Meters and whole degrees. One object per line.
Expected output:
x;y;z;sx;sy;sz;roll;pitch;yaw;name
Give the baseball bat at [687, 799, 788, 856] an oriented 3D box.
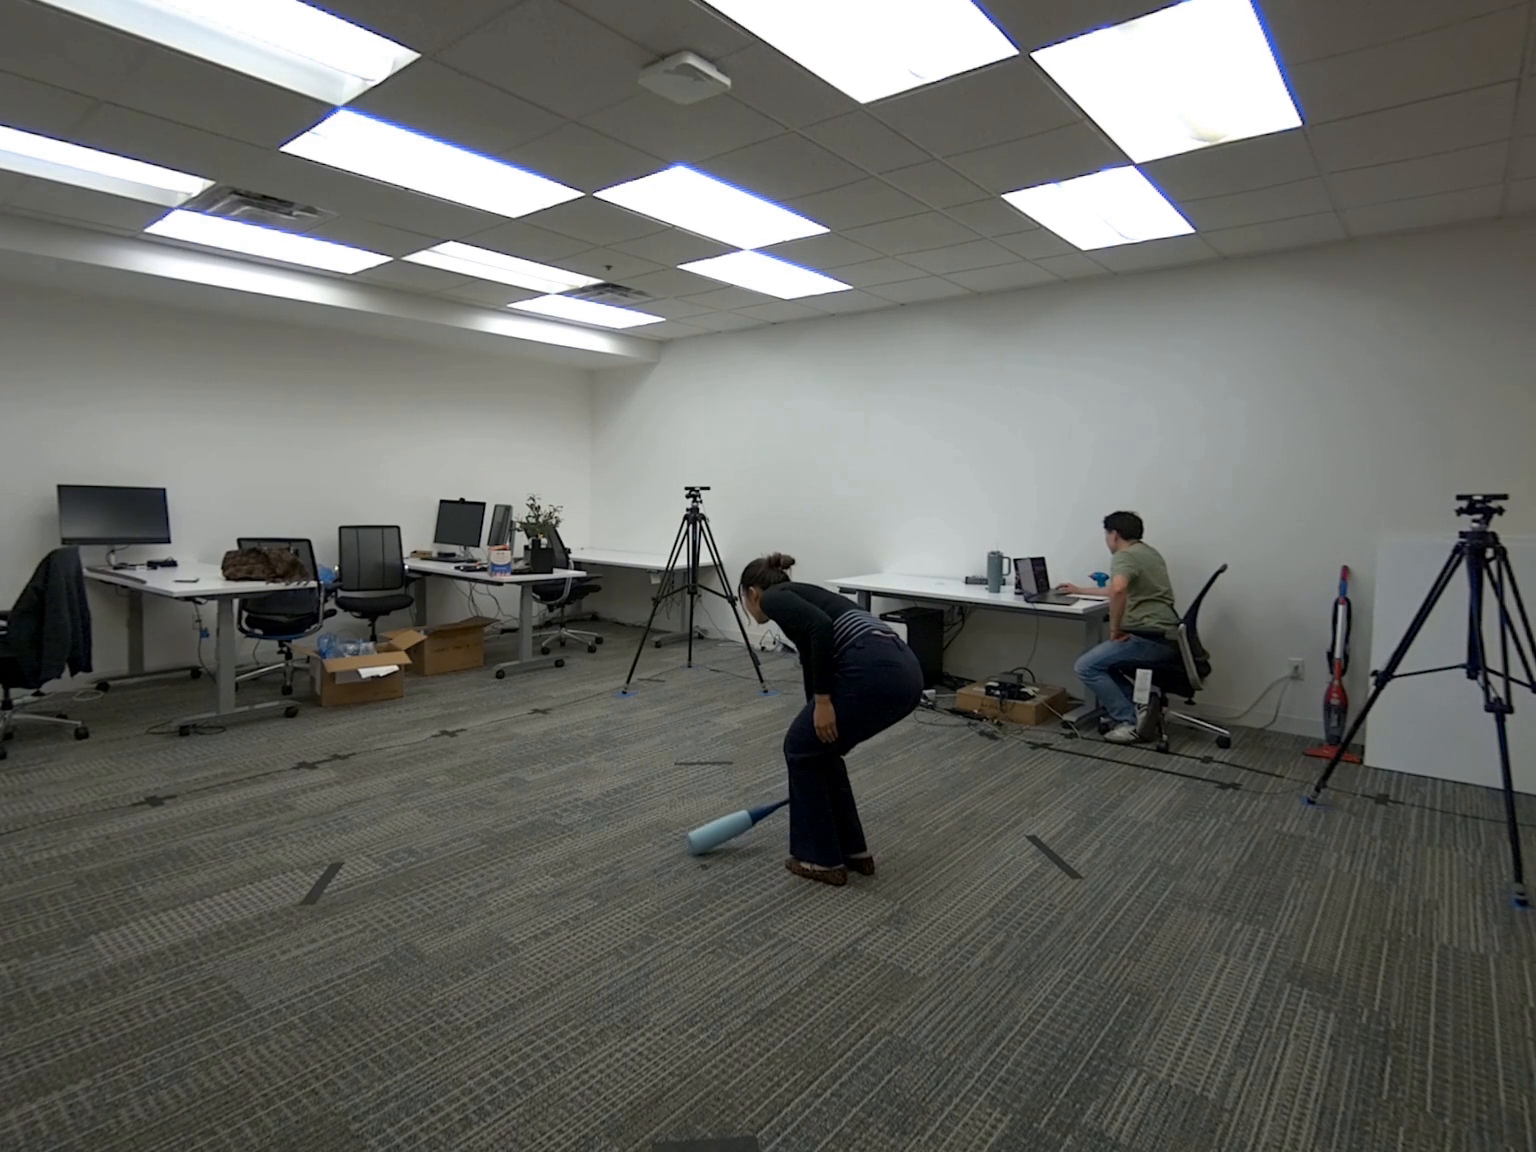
-0.061;0.934;3.305;0.537;0.088;0.091;-18;10;-16;baseball bat
